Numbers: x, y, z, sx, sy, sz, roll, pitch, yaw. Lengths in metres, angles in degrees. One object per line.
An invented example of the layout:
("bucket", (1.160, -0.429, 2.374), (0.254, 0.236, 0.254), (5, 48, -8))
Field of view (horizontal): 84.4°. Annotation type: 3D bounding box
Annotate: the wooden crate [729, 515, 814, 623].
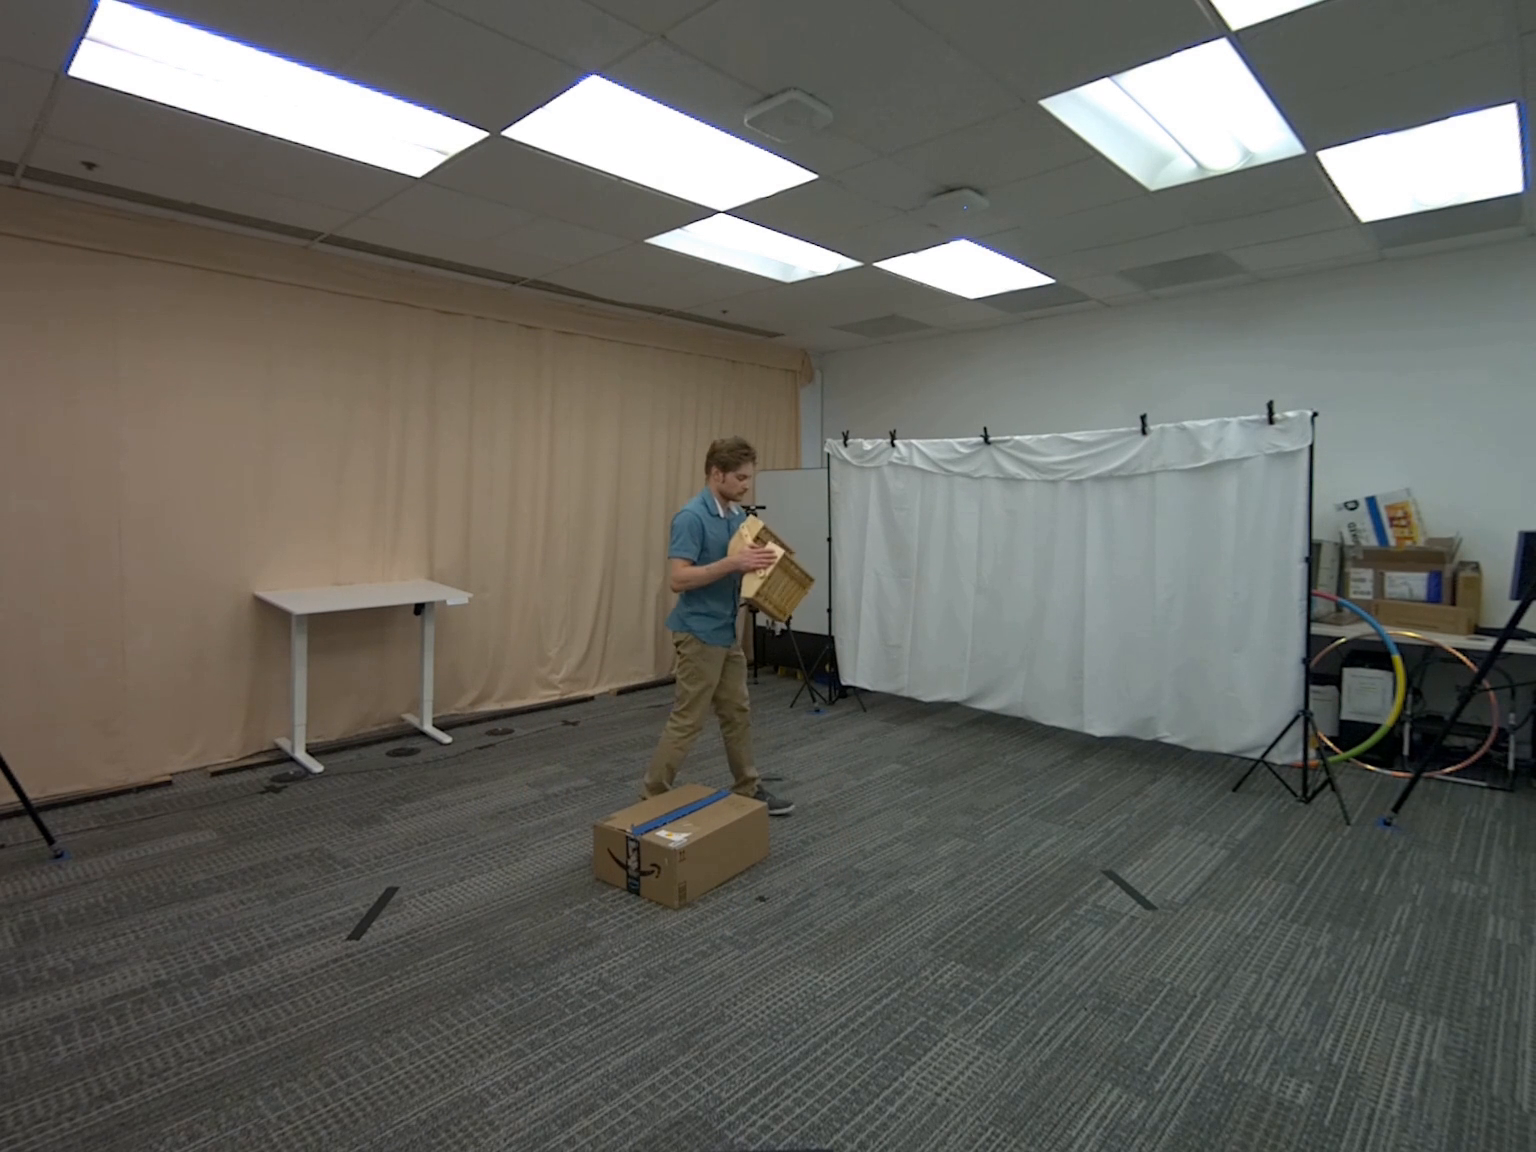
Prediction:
("wooden crate", (-0.011, -0.022, 3.550), (0.283, 0.302, 0.313), (35, -3, 38))
